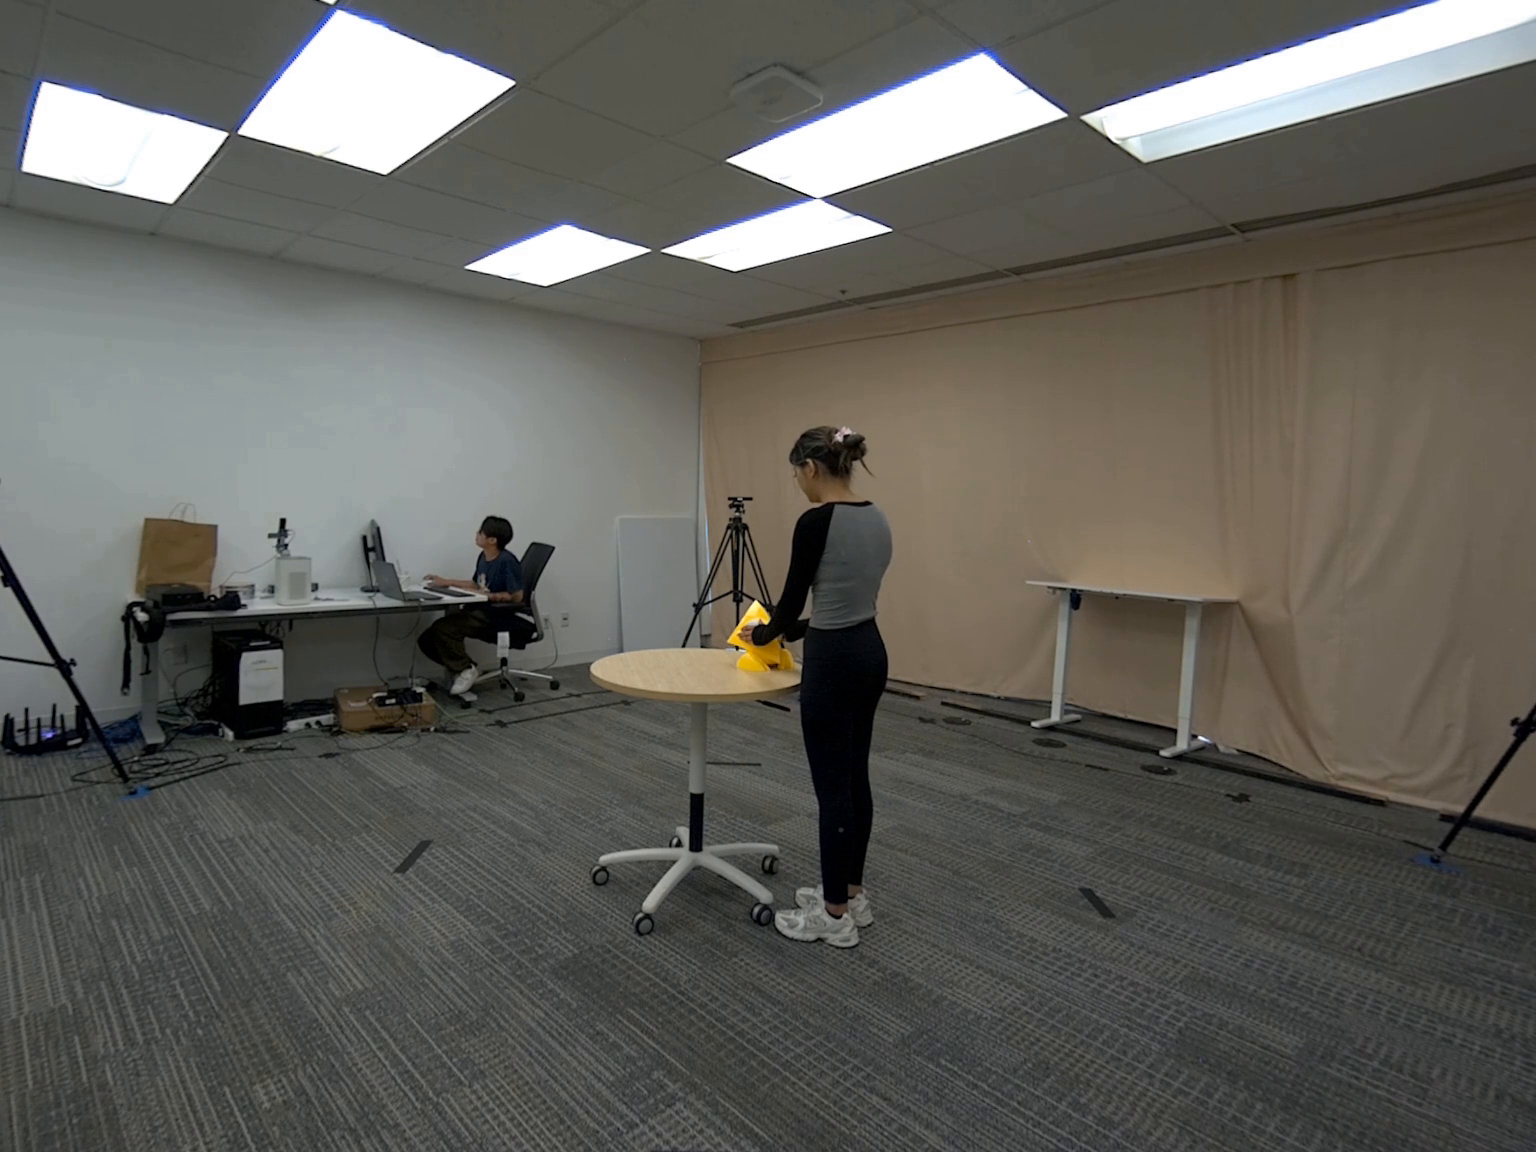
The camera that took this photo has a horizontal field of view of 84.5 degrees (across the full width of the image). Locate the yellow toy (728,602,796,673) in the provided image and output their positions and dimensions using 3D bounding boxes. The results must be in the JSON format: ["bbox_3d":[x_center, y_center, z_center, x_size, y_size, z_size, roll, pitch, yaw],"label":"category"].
[{"bbox_3d":[-0.016,0.213,3.026,0.200,0.230,0.198,0,6,-36],"label":"yellow toy"}]
